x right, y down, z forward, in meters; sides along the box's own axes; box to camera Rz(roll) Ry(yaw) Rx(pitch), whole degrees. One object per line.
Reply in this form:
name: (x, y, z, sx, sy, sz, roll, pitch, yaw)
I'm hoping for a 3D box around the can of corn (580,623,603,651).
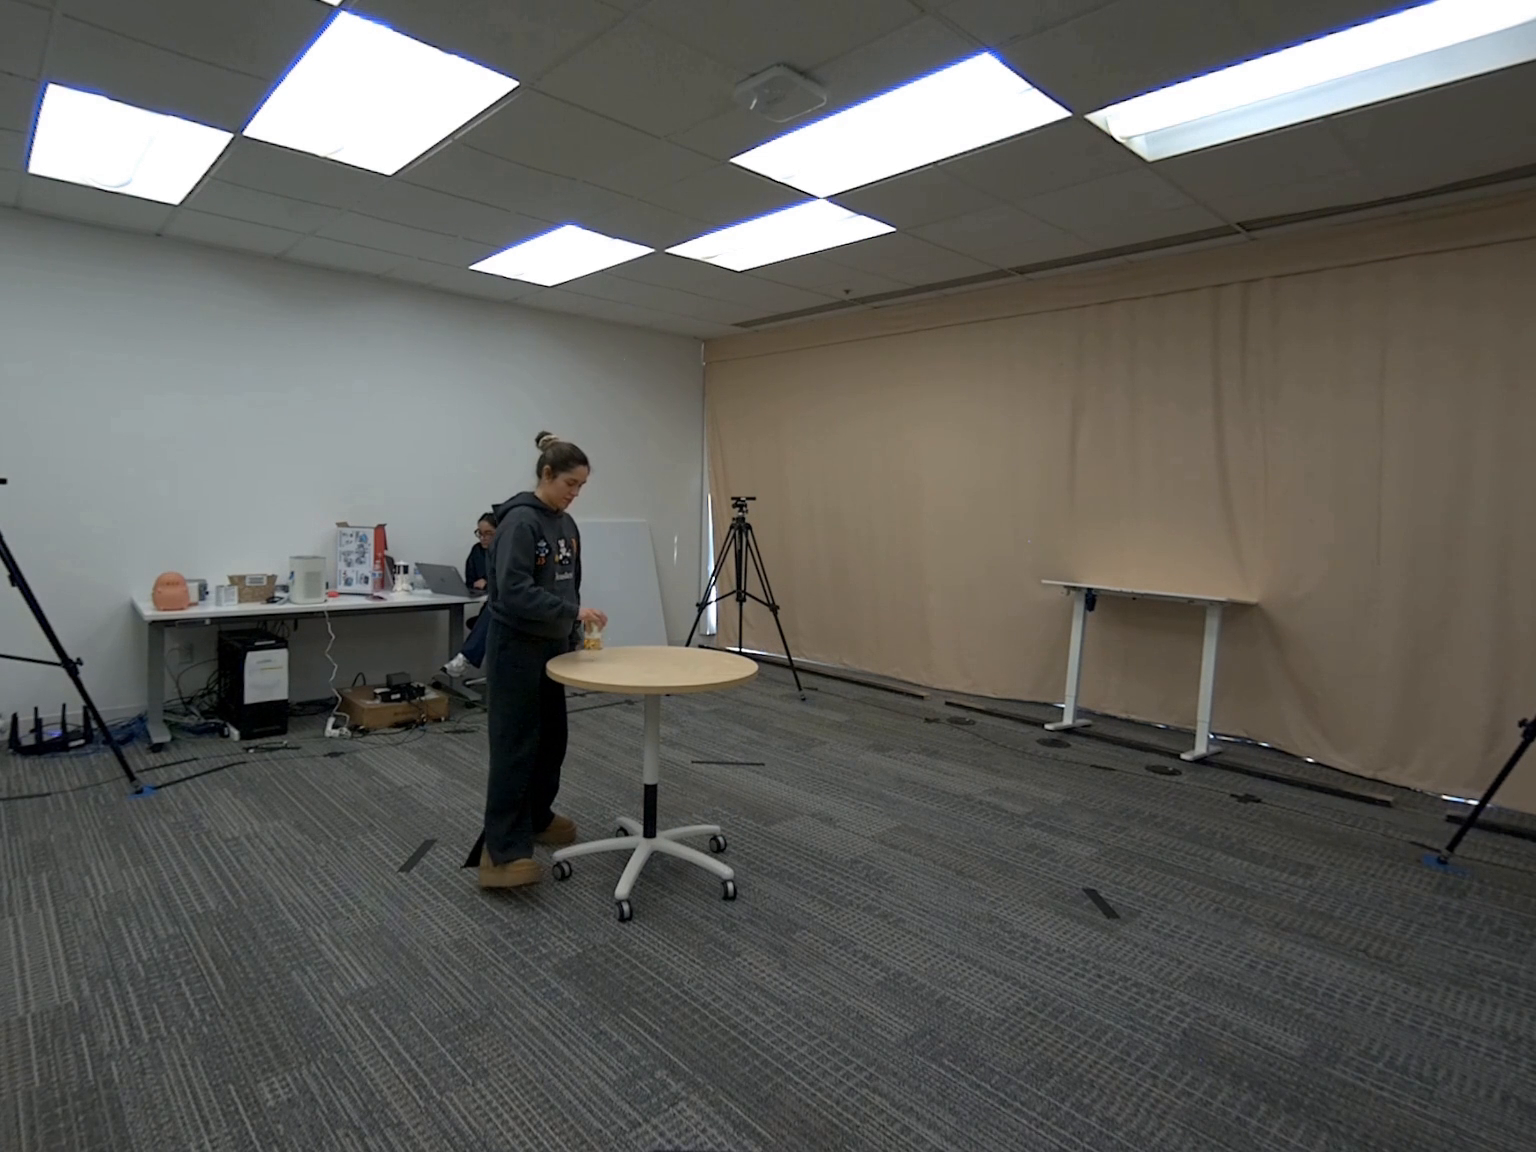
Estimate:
can of corn: (-0.650, 0.219, 3.085, 0.074, 0.110, 0.074, 2, 7, -2)
